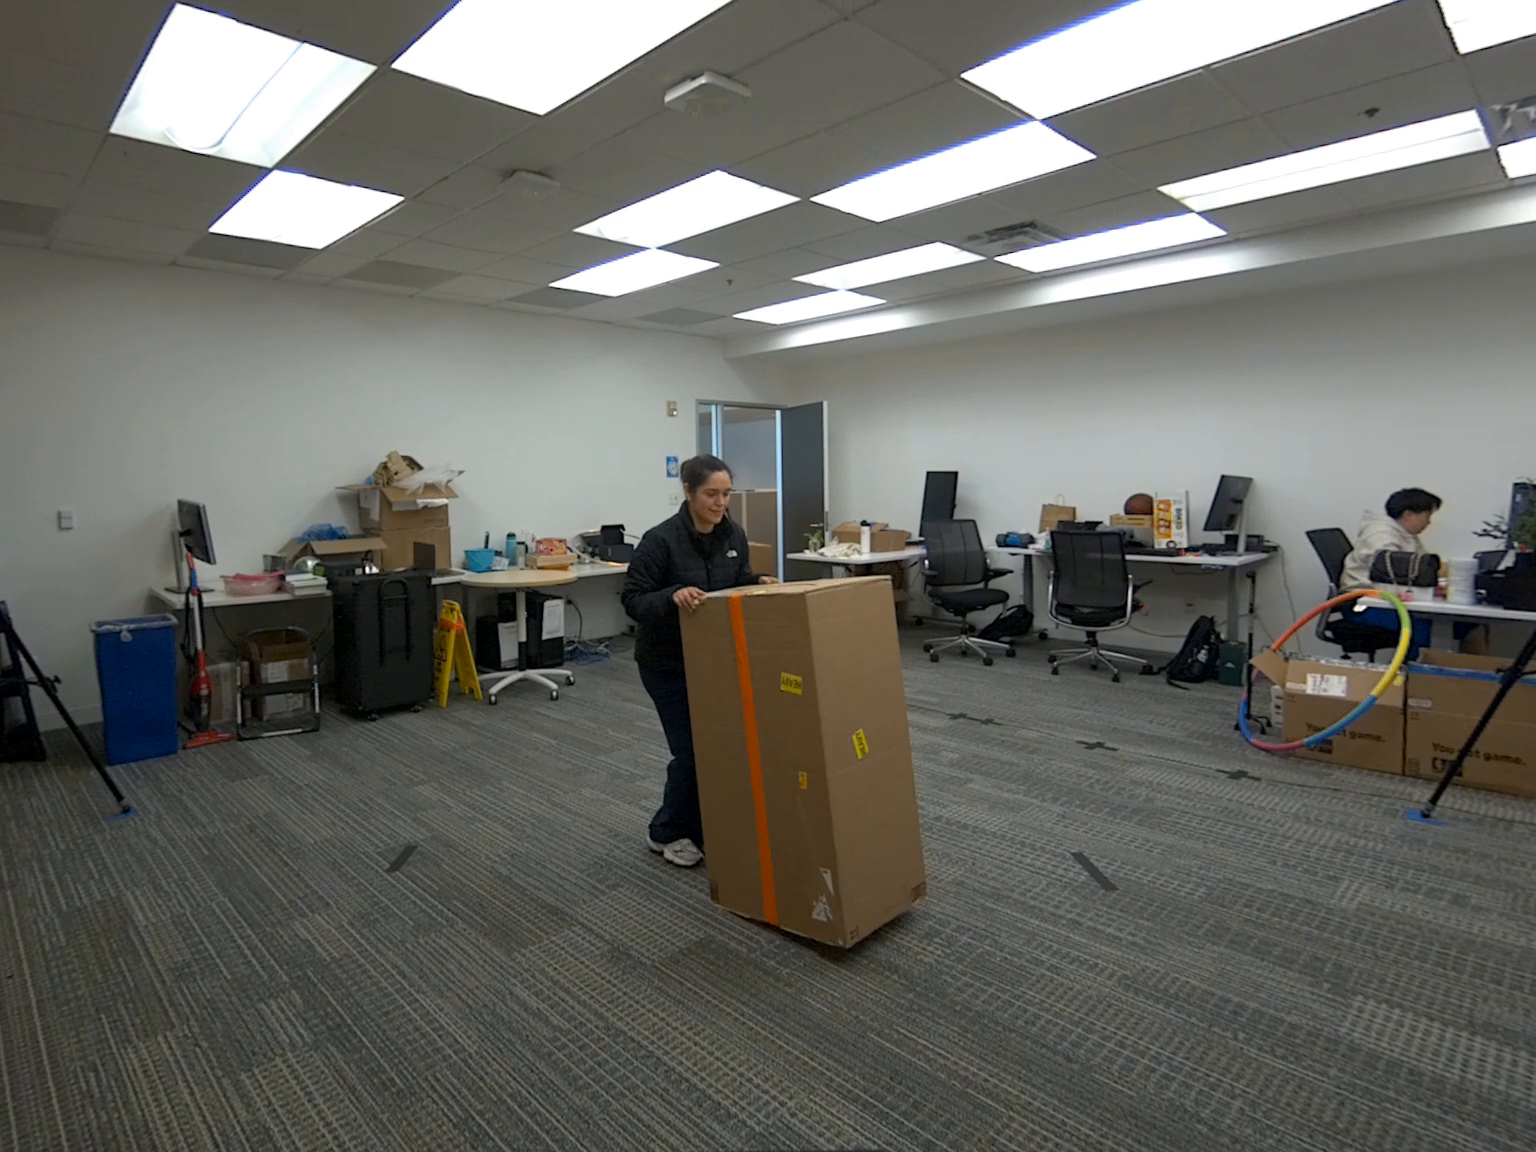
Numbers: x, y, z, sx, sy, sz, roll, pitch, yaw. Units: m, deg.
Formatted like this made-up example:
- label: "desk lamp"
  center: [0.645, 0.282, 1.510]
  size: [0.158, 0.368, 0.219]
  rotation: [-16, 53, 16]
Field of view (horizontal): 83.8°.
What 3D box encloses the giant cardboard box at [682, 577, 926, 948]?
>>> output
- label: "giant cardboard box"
  center: [0.102, 0.545, 2.779]
  size: [0.435, 1.027, 0.599]
  rotation: [-7, 0, -44]
